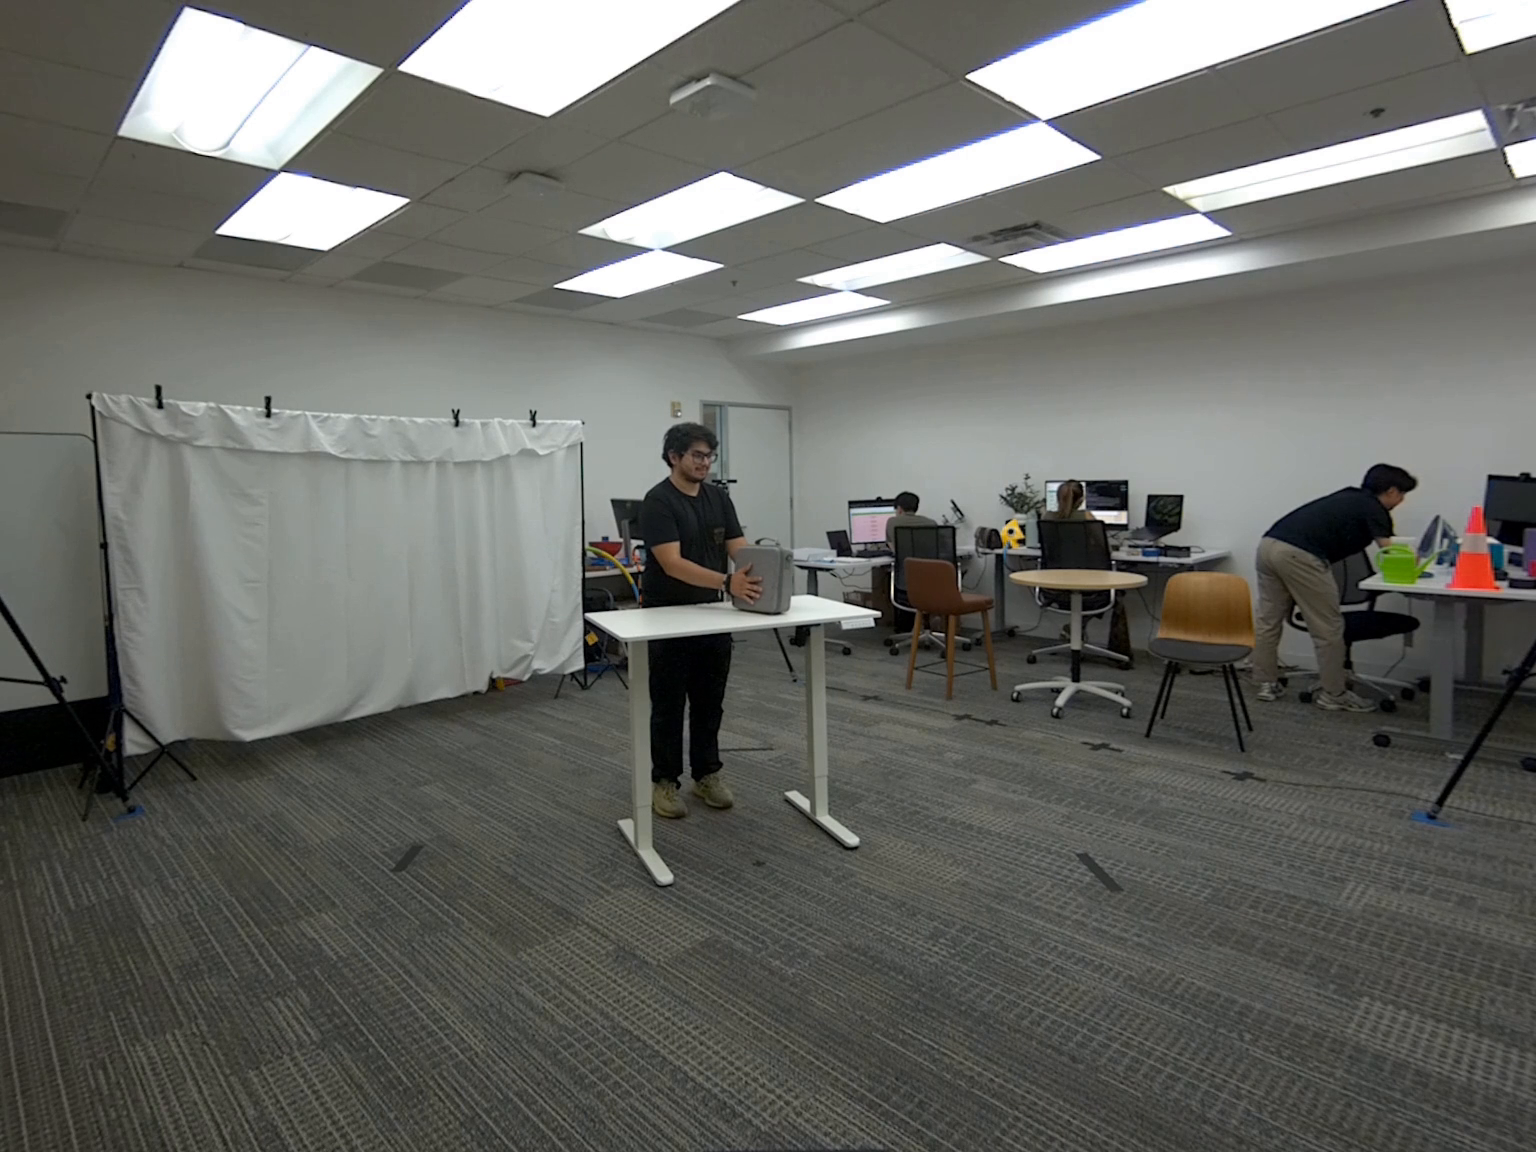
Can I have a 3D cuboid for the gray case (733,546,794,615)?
[{"bbox_3d":[-0.022,0.007,3.318,0.101,0.261,0.264,6,-3,-39],"label":"gray case"}]
